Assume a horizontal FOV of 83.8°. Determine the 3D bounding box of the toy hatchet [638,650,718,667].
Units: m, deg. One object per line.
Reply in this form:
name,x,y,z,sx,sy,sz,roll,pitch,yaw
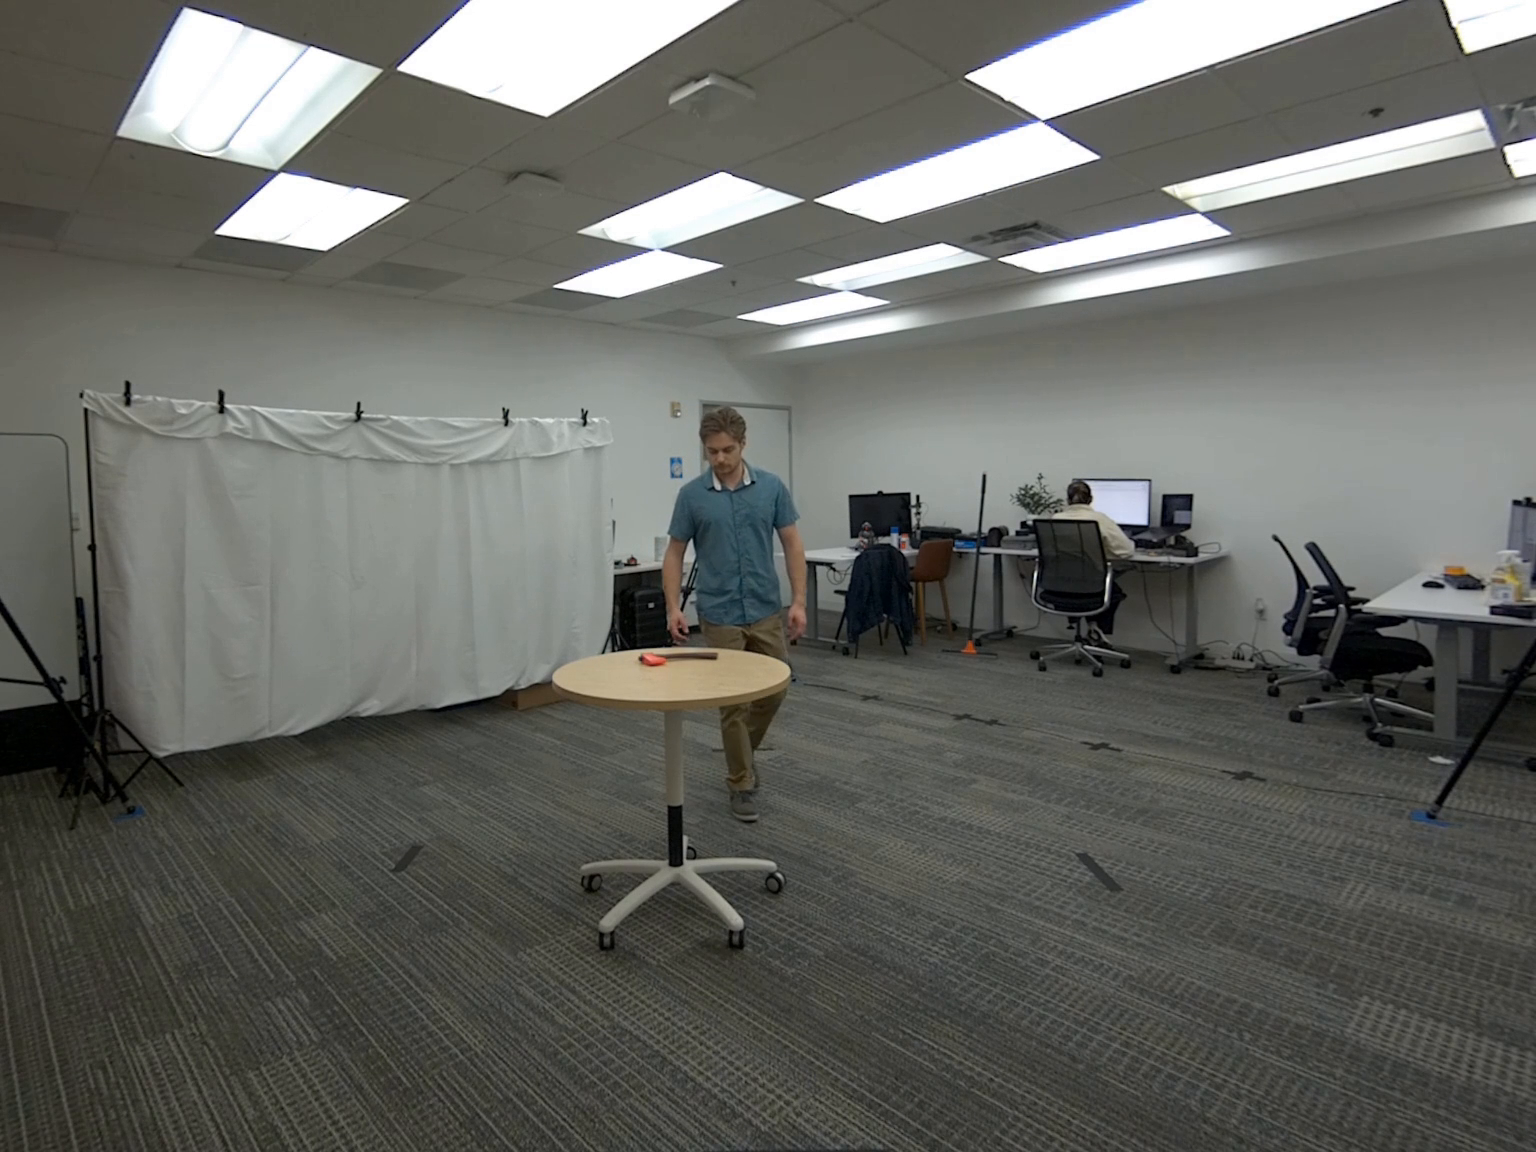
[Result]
toy hatchet,-0.302,0.282,2.894,0.270,0.029,0.132,0,5,-2
